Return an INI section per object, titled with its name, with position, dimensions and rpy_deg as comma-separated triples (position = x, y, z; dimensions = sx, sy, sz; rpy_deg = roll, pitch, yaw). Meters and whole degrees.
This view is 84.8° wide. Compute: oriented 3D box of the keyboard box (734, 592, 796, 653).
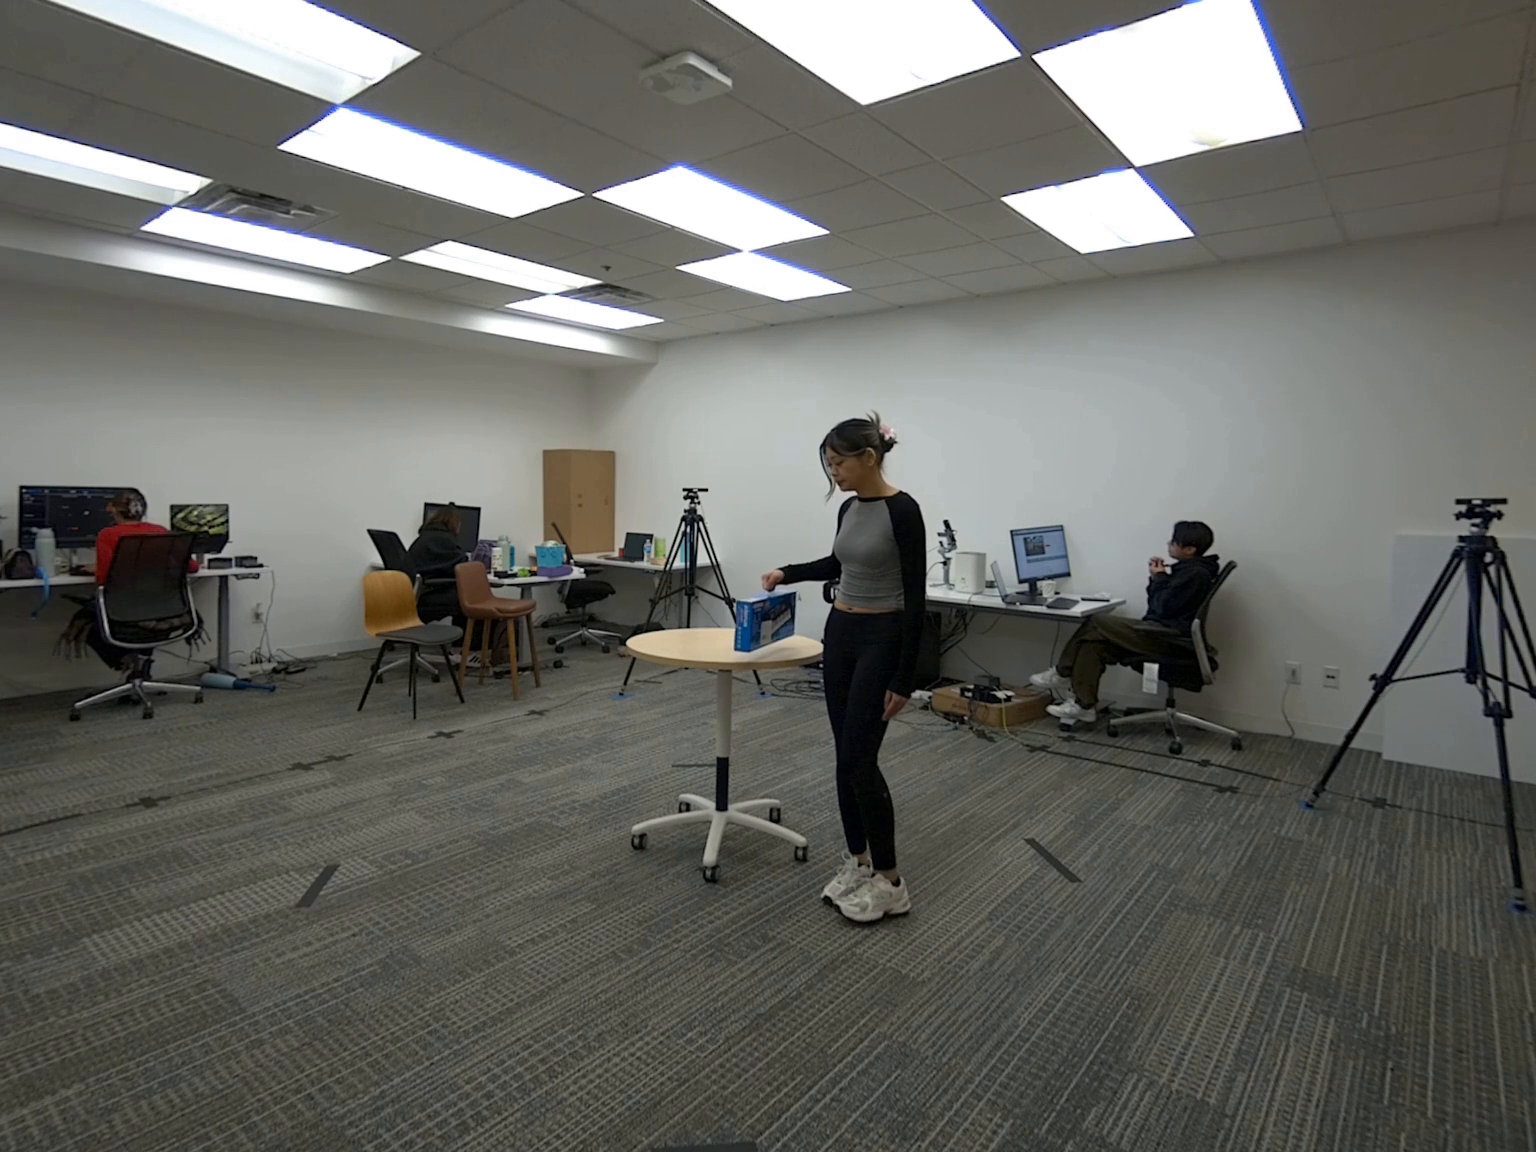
[keyboard box]
position = -0.011, 0.155, 3.058
dimensions = 0.060, 0.175, 0.428
rpy_deg = 3, 5, 22
